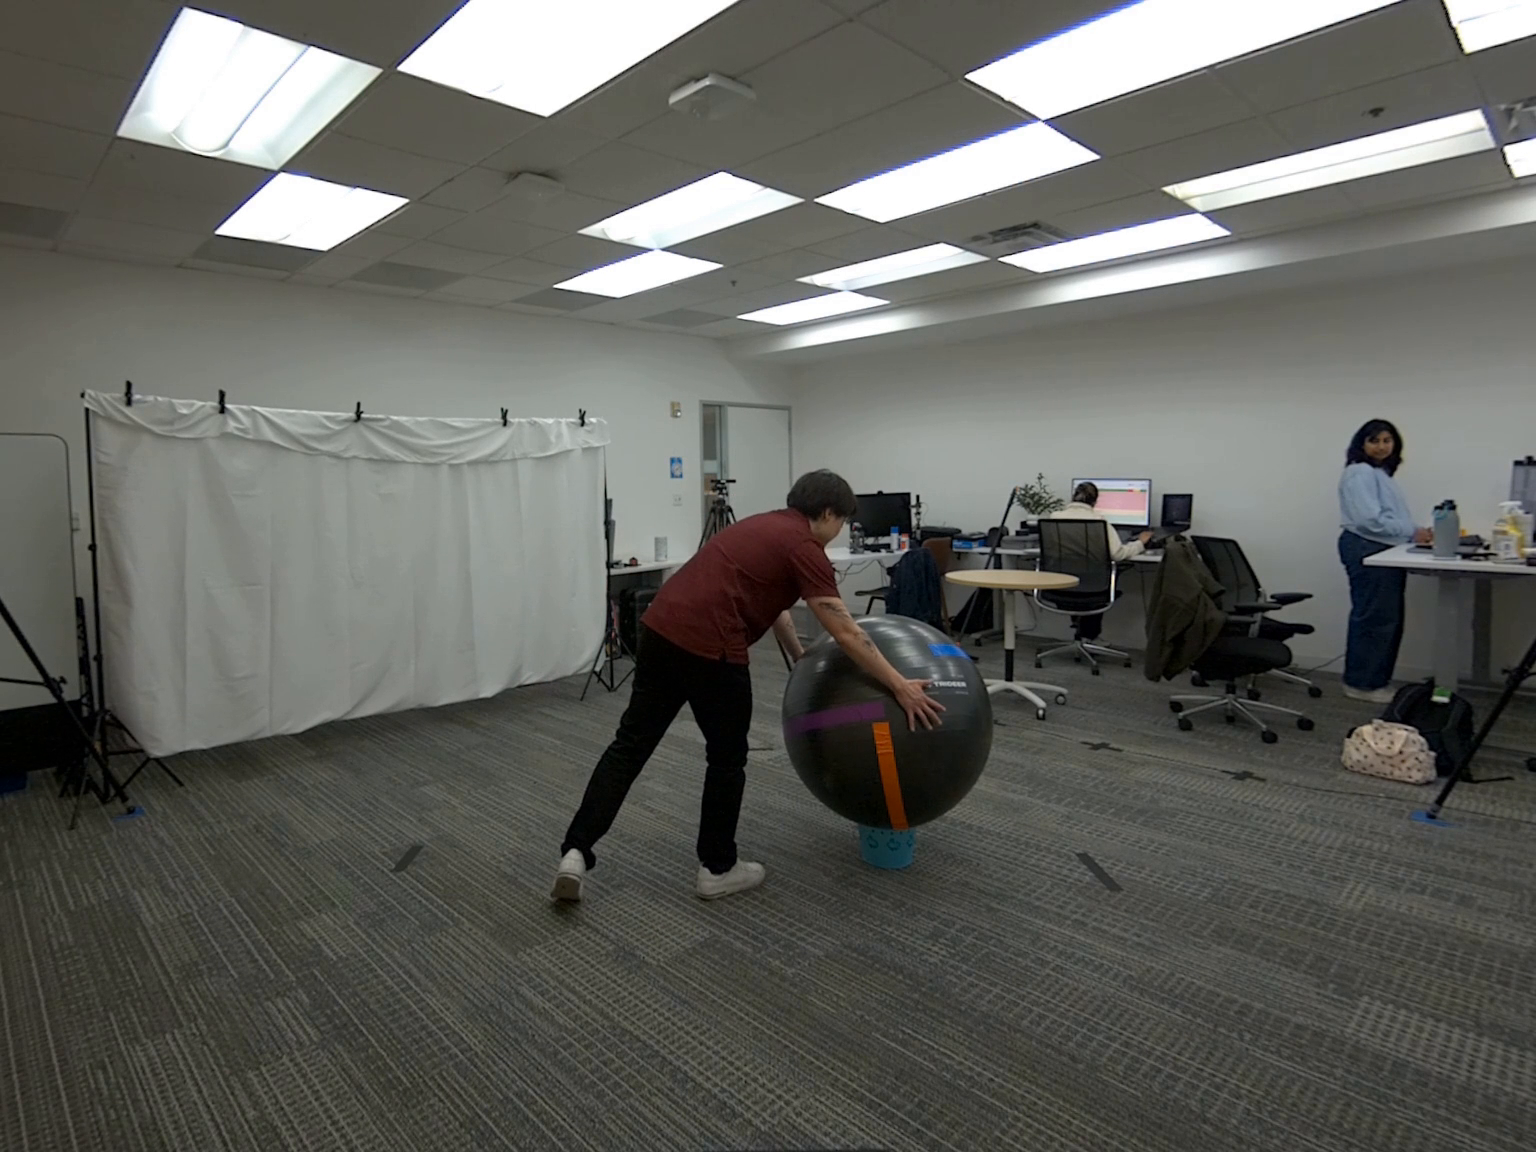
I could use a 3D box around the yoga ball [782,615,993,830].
[{"bbox_3d":[0.428,0.527,3.127,0.757,0.755,0.762,-1,5,-2],"label":"yoga ball"}]
